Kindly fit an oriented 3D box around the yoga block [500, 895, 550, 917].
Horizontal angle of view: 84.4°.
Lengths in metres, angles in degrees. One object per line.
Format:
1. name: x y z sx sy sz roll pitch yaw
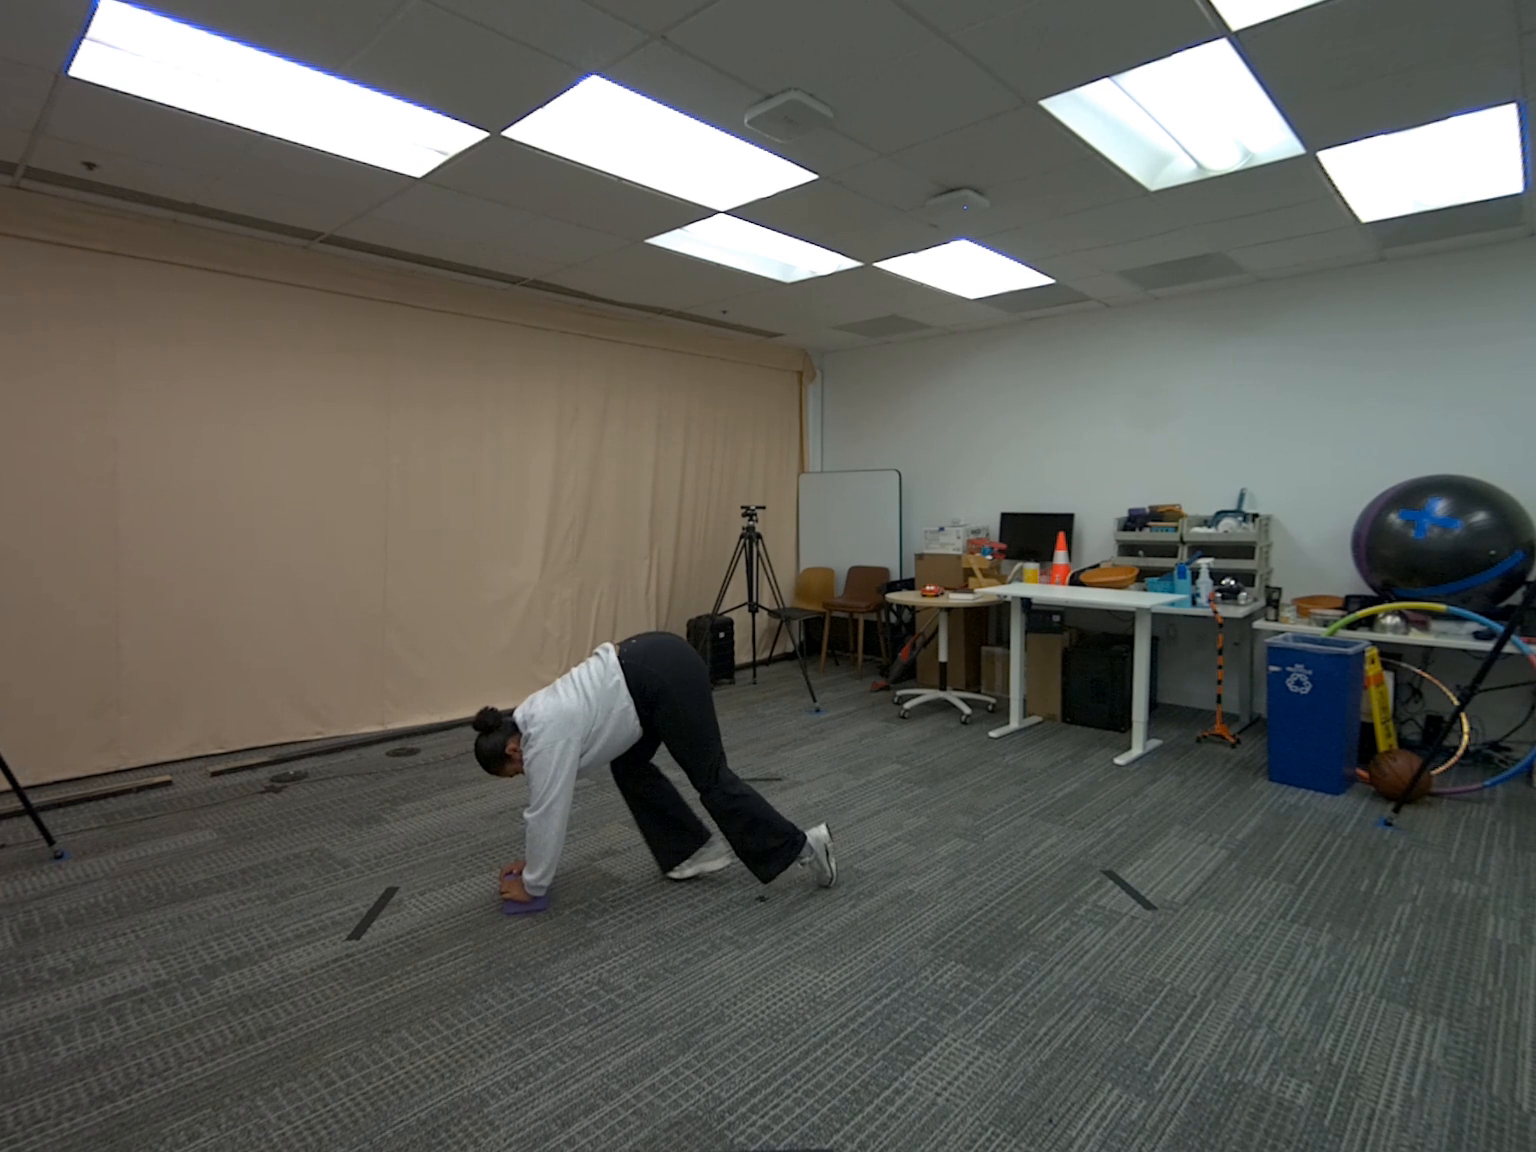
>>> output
1. yoga block: -0.870 1.123 2.996 0.147 0.076 0.234 -5 7 -16
